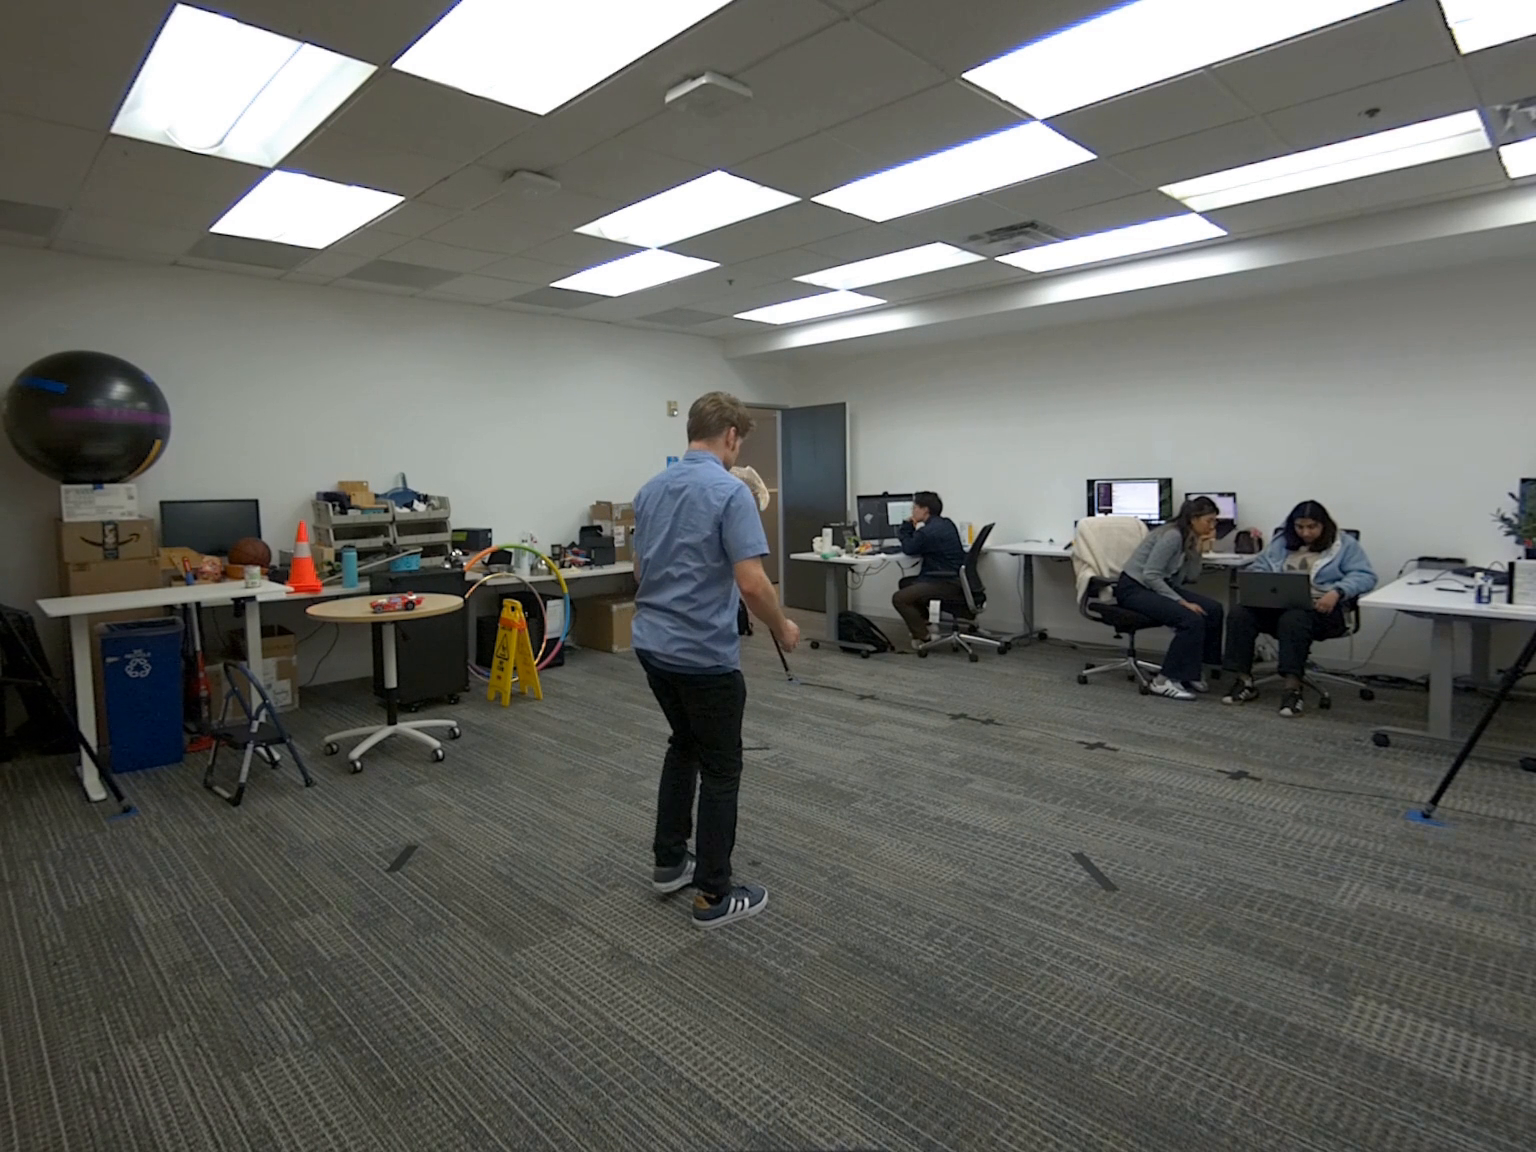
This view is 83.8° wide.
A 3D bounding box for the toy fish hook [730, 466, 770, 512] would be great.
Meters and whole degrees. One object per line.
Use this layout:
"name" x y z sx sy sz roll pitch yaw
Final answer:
"toy fish hook" -0.092 -0.190 3.139 0.225 0.518 0.047 -2 -26 0
